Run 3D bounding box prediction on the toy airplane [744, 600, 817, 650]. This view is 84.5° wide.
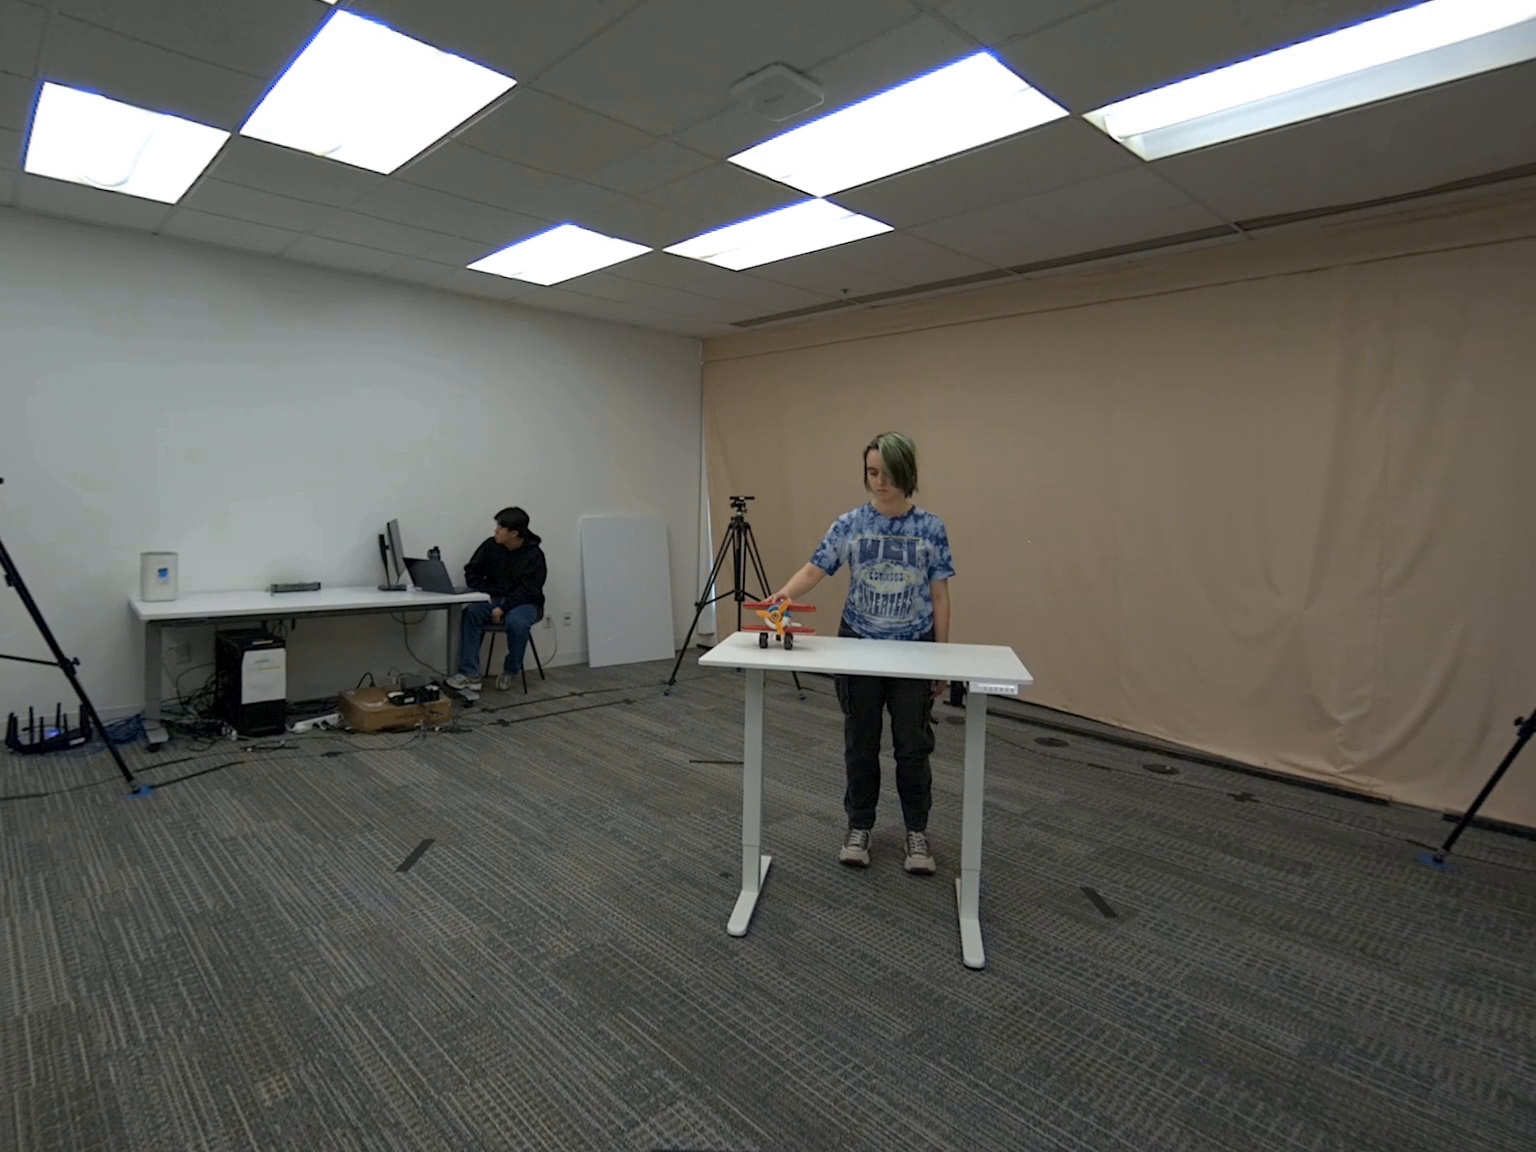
[{"bbox_3d":[0.017,0.168,2.946,0.247,0.156,0.263,0,4,-19],"label":"toy airplane"}]
